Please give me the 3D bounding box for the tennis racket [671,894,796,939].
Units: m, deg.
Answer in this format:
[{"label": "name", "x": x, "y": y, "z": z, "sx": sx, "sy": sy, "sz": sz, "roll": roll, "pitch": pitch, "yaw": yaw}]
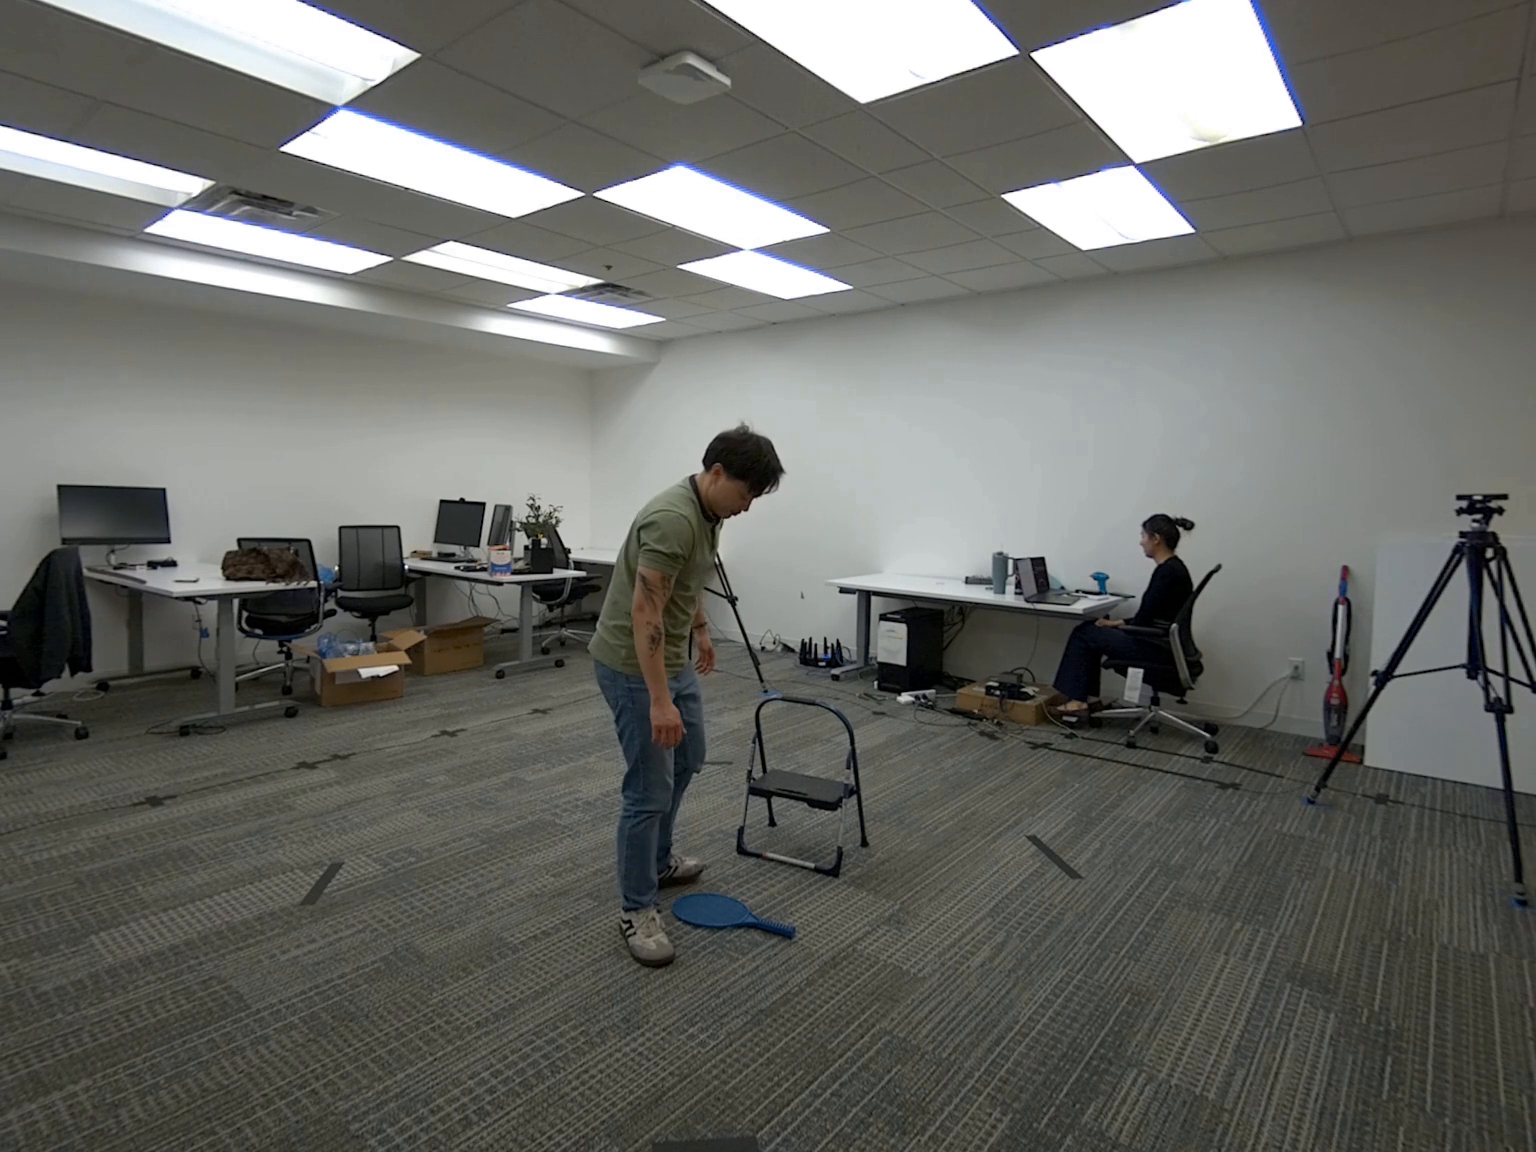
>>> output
[{"label": "tennis racket", "x": -0.125, "y": 1.090, "z": 2.730, "sx": 0.445, "sy": 0.031, "sz": 0.208, "roll": 2, "pitch": 5, "yaw": 30}]
